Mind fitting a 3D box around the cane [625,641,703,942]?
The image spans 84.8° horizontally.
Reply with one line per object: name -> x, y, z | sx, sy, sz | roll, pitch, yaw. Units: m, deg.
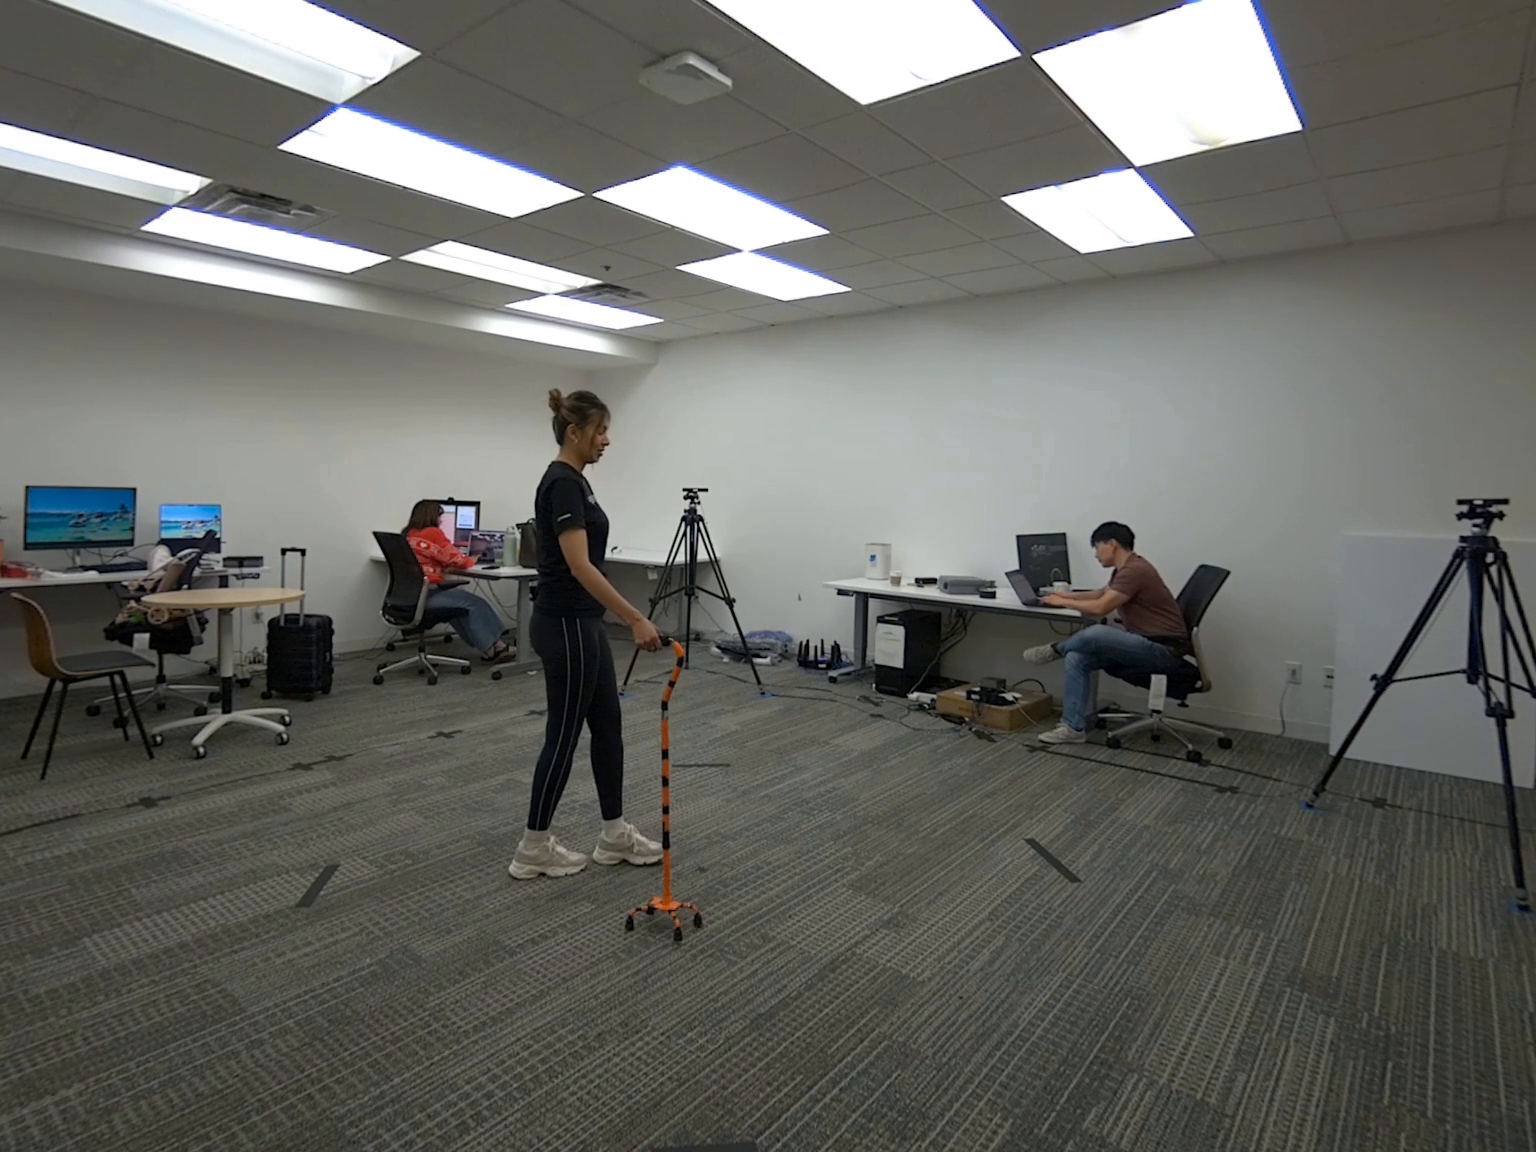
cane -> -0.336, 0.647, 2.693 | 0.211, 0.909, 0.148 | 0, -1, 22
